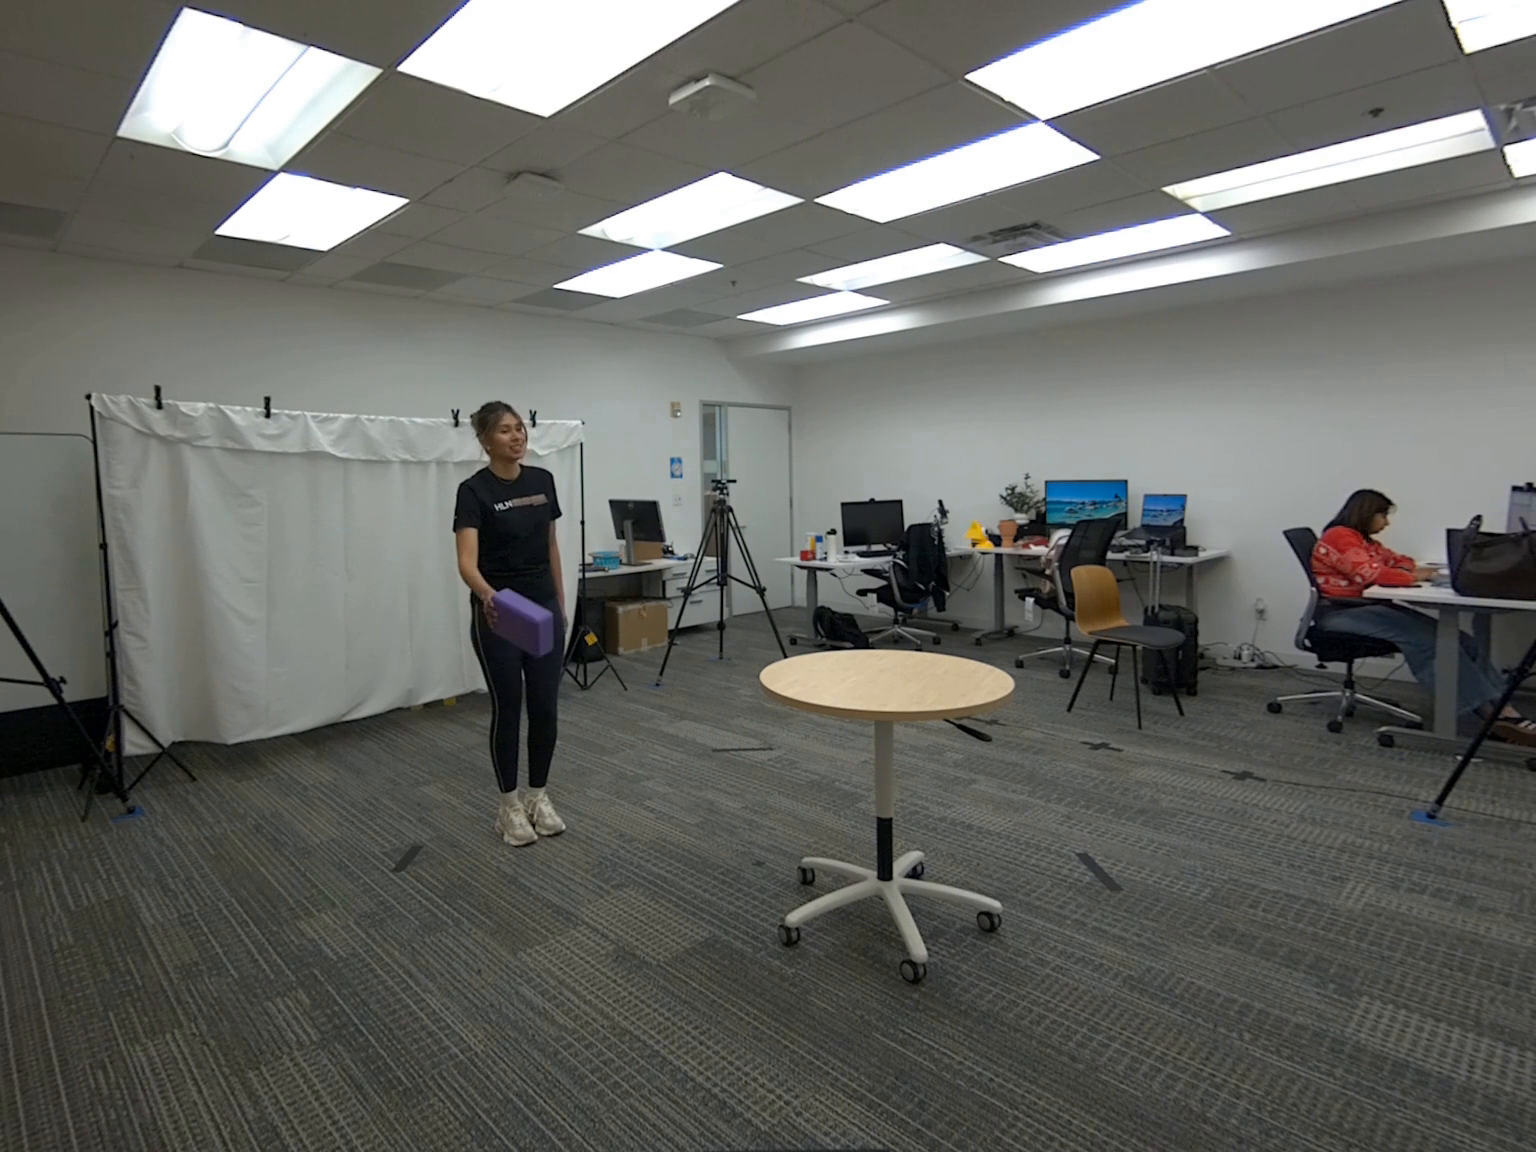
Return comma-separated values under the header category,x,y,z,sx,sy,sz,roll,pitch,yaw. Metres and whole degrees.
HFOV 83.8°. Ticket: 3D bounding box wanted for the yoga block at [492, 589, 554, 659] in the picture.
category,x,y,z,sx,sy,sz,roll,pitch,yaw
yoga block,-0.812,0.150,2.810,0.237,0.146,0.075,24,32,30
